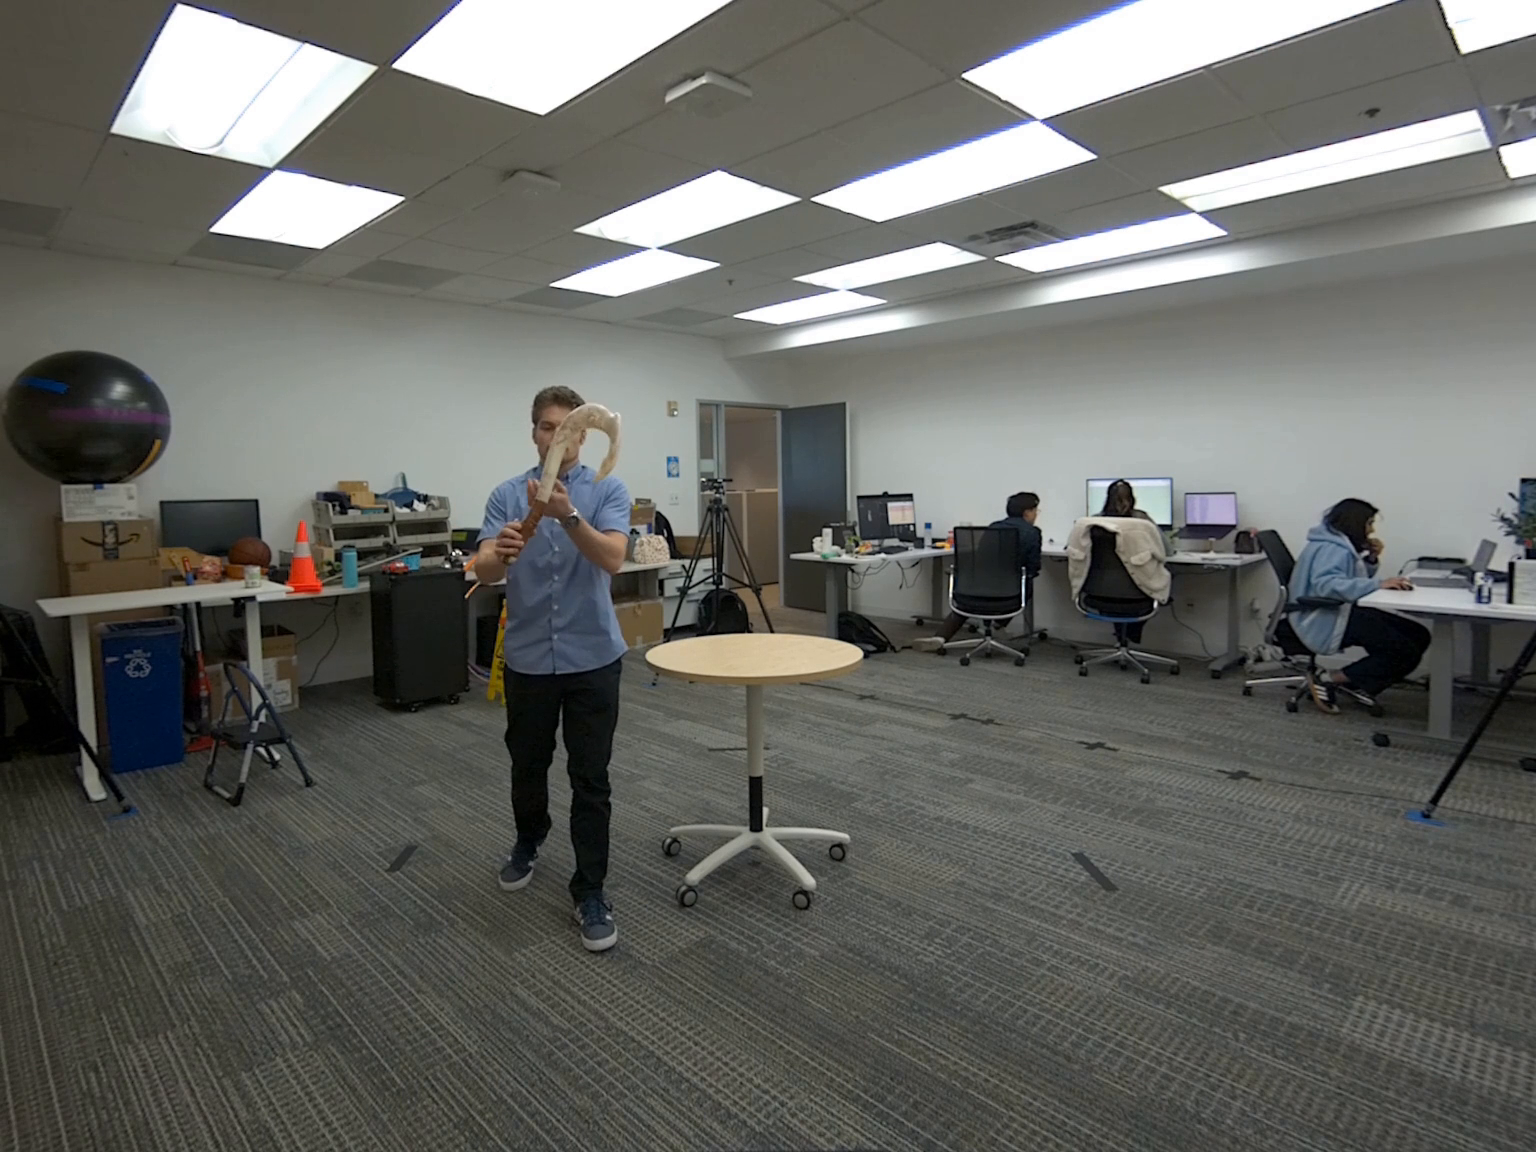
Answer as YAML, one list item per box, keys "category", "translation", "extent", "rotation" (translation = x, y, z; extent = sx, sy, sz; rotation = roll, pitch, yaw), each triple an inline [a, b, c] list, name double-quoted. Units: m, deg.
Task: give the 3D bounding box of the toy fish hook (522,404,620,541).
- category: "toy fish hook"
  translation: [-0.559, -0.235, 2.323]
  extent: [0.232, 0.507, 0.047]
  rotation: [25, -3, 30]
